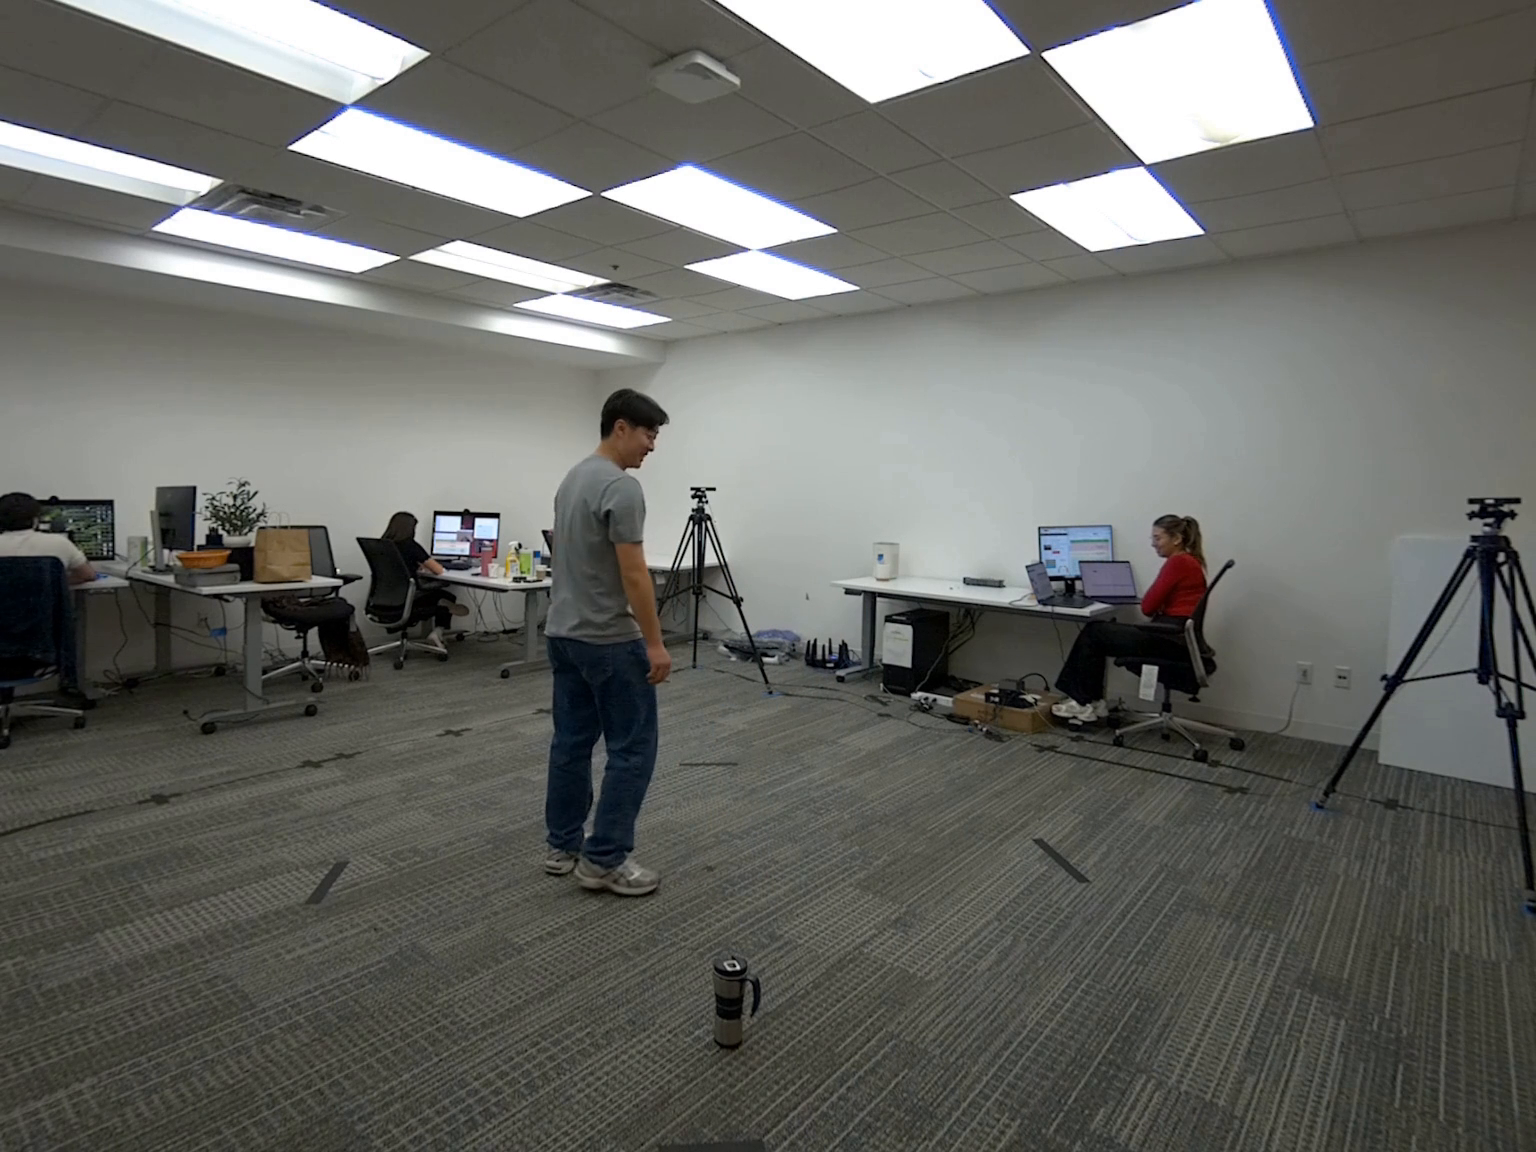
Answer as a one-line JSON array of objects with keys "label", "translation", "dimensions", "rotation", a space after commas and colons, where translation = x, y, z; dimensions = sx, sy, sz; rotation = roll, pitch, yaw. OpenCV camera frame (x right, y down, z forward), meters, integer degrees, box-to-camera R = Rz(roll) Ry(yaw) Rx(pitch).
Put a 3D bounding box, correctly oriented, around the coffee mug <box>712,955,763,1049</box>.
[{"label": "coffee mug", "translation": [-0.089, 1.069, 2.116], "dimensions": [0.126, 0.203, 0.085], "rotation": [1, 0, 38]}]
